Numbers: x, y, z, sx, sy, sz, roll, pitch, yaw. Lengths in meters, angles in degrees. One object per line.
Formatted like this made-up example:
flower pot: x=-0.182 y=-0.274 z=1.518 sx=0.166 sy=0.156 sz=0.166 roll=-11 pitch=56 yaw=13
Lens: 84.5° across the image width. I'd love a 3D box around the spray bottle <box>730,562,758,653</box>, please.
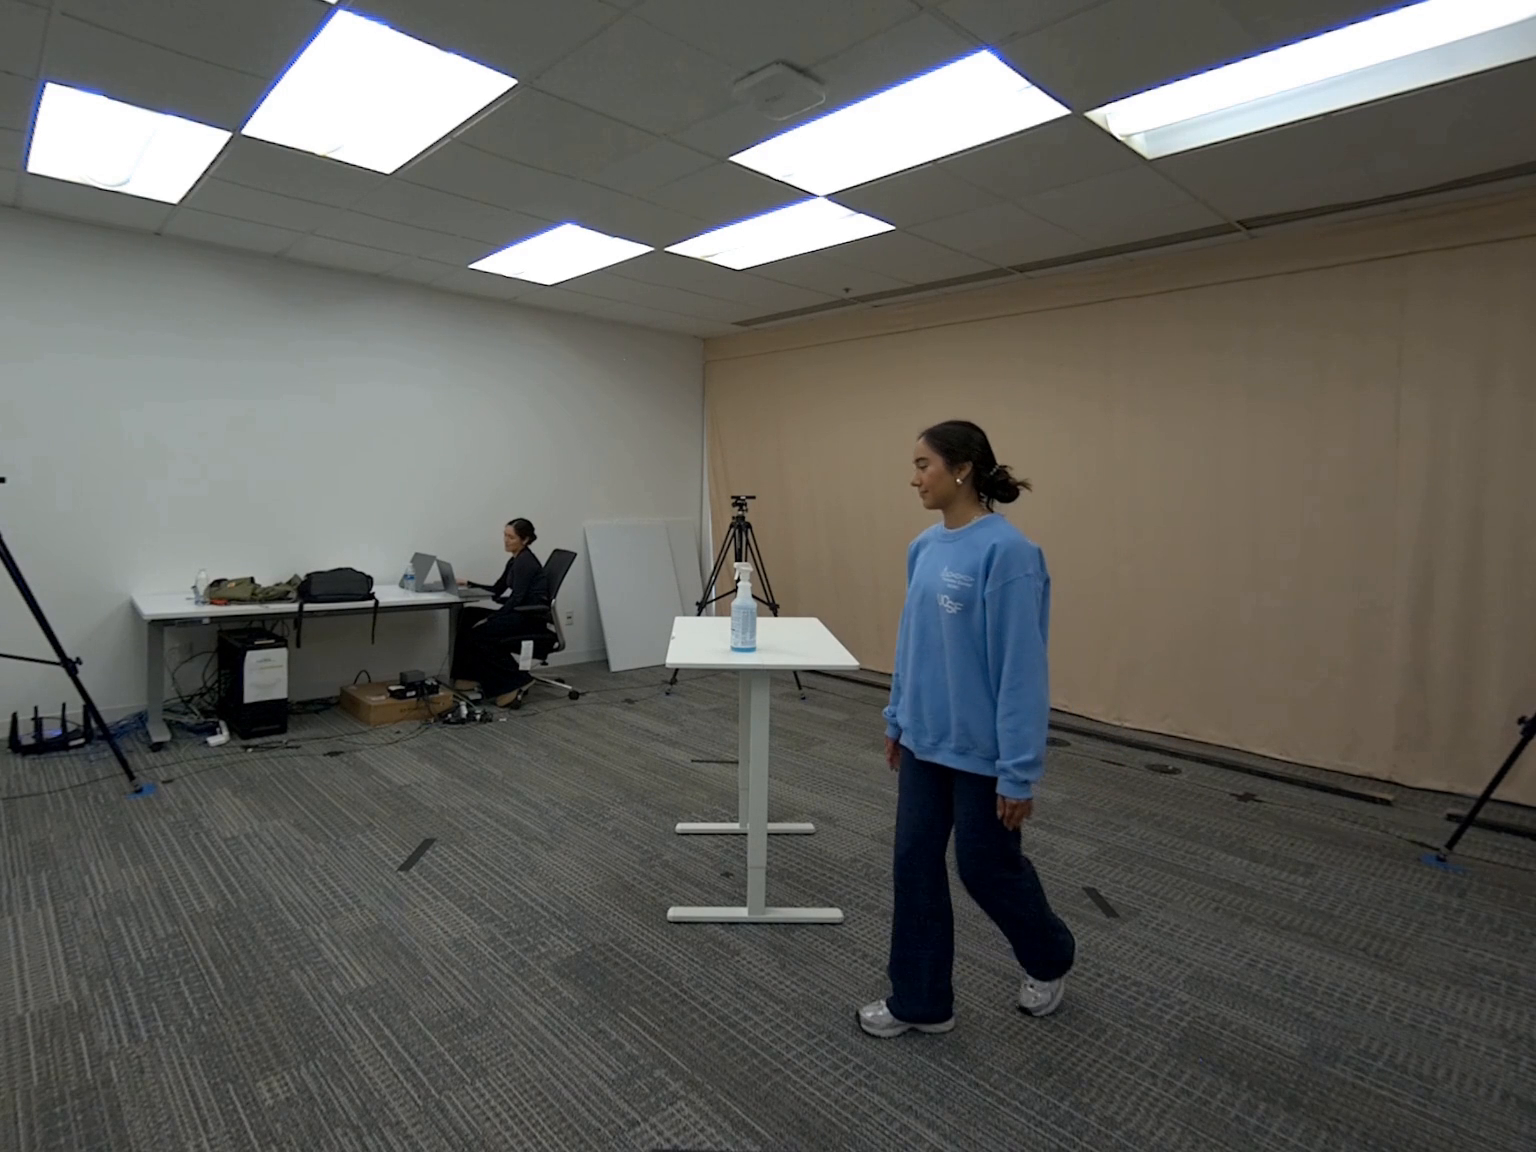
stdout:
spray bottle: x=-0.087 y=0.106 z=2.804 sx=0.088 sy=0.296 sz=0.089 roll=-3 pitch=7 yaw=-25
